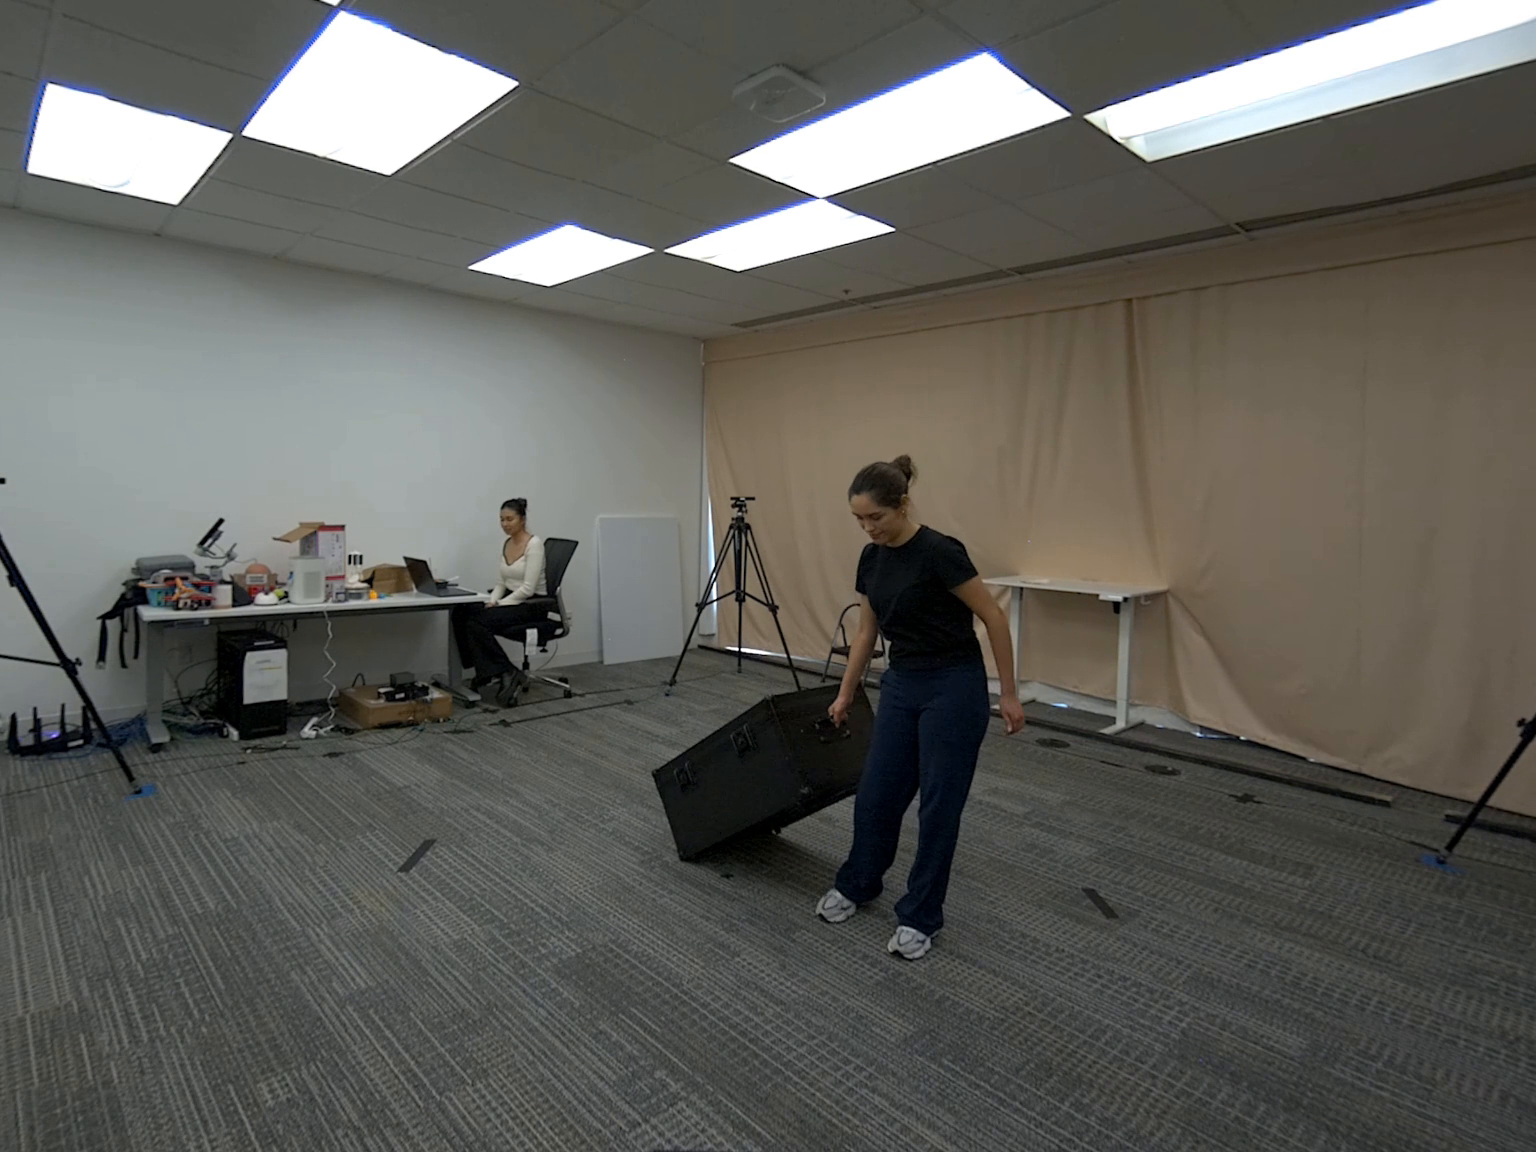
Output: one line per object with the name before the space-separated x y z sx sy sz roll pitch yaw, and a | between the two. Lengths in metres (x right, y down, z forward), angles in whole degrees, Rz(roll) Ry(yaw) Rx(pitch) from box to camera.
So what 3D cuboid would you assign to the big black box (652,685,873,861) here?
big black box | -0.012 0.765 3.202 0.509 0.404 0.864 -3 -27 -43
